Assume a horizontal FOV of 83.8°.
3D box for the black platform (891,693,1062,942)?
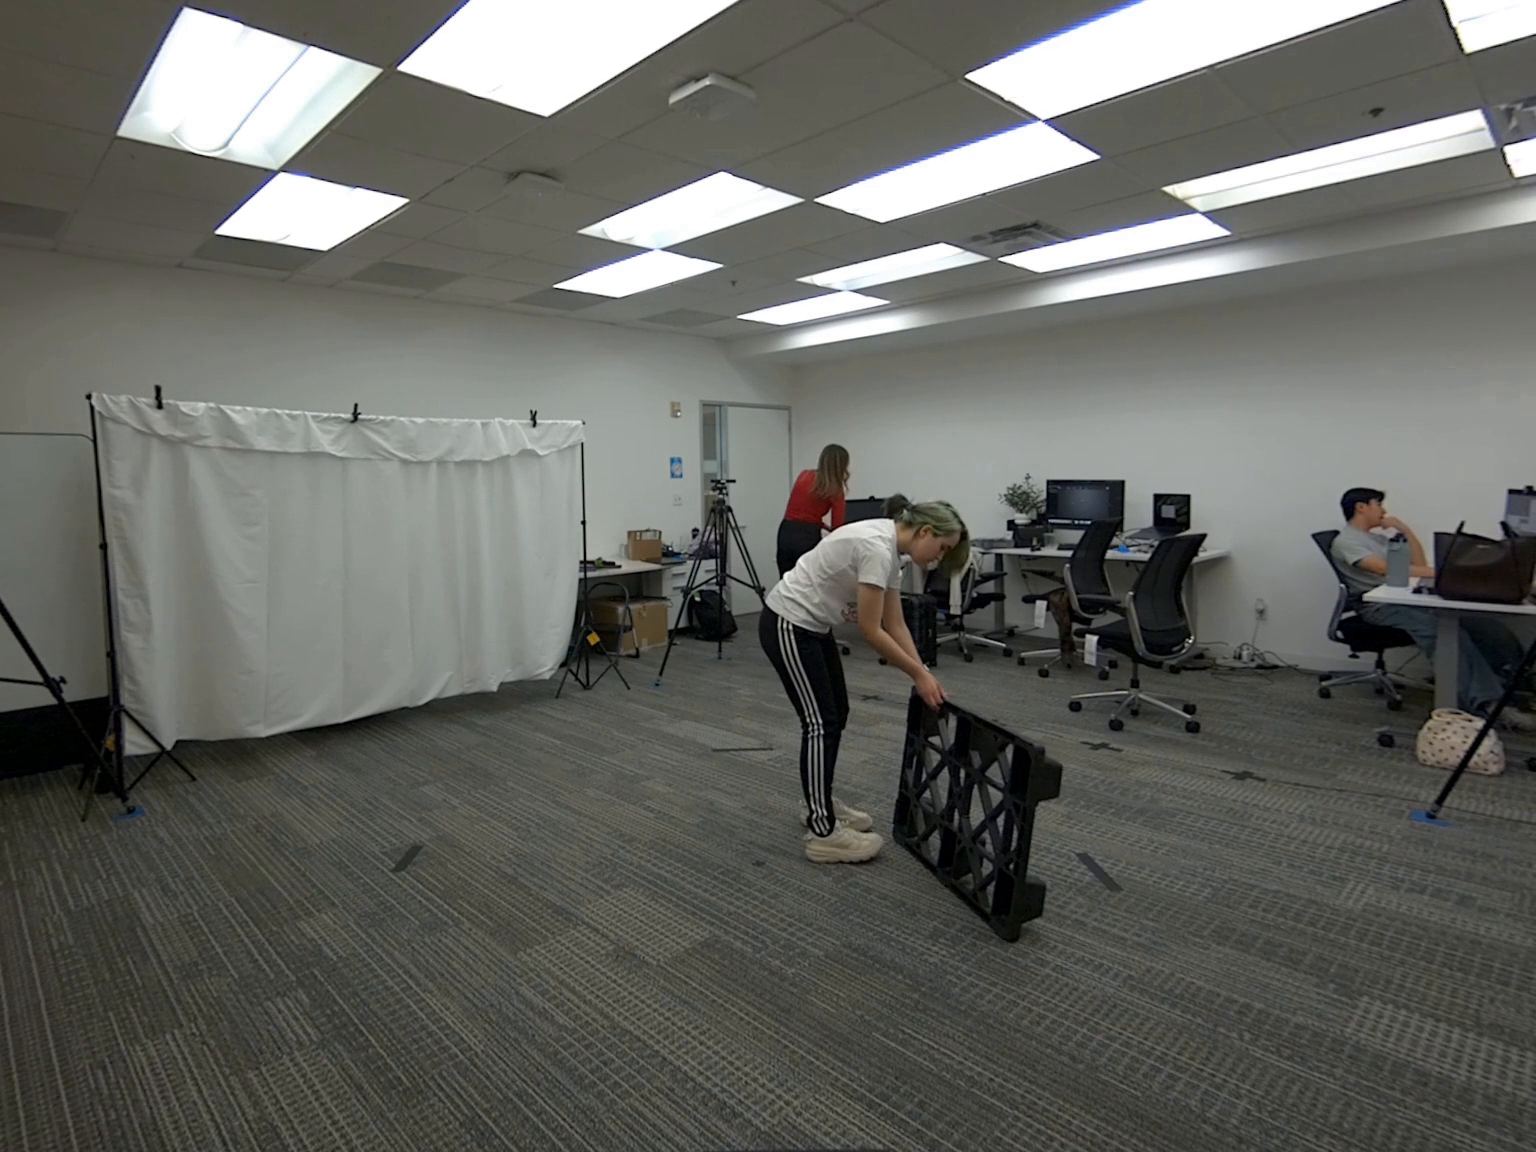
[{"bbox_3d":[0.700,0.769,2.928,0.141,0.604,0.821,7,3,-18],"label":"black platform"}]
